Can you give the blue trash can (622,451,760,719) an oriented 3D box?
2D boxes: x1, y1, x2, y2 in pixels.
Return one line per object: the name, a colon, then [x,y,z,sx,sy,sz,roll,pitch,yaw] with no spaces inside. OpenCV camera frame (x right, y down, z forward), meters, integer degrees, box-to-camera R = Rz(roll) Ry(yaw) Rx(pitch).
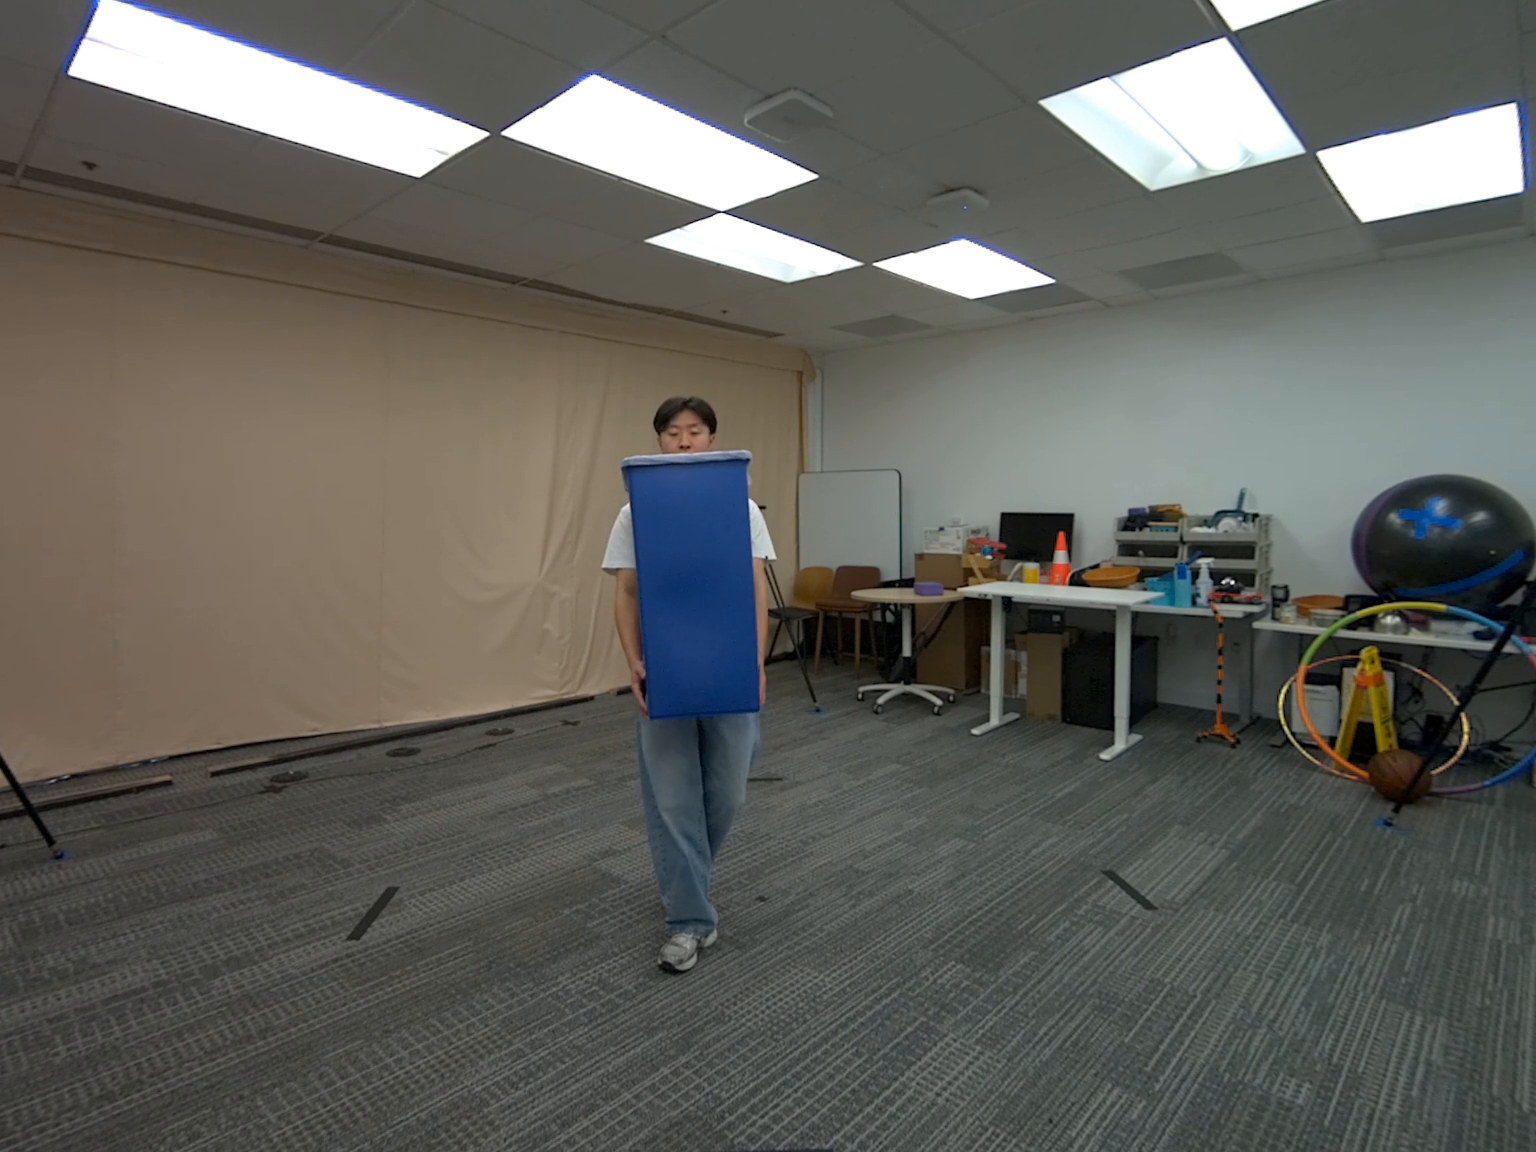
blue trash can: [-0.223,0.031,2.442,0.371,0.717,0.379,-4,-7,-7]
